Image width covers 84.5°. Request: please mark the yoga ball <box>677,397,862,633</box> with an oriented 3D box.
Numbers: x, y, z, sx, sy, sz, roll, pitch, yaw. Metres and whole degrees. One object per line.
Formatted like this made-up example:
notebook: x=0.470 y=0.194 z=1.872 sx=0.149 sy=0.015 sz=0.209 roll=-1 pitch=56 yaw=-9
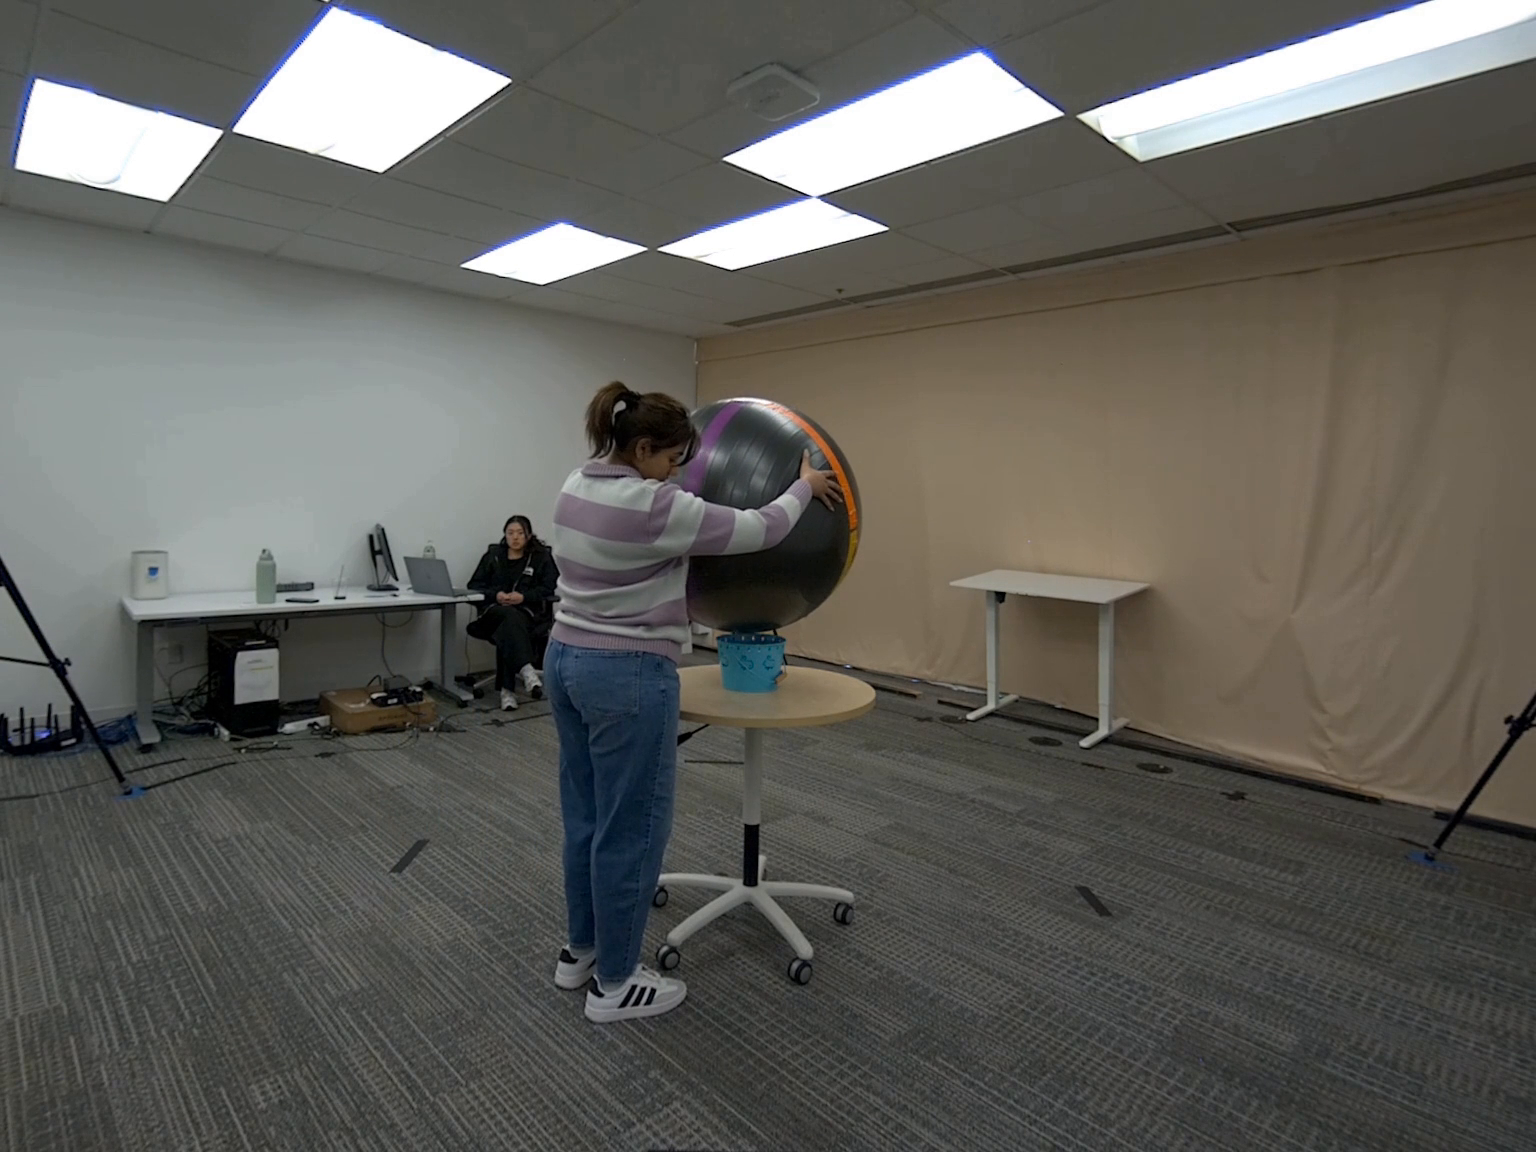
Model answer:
yoga ball: x=-0.075 y=-0.191 z=2.750 sx=0.757 sy=0.756 sz=0.761 roll=1 pitch=4 yaw=-1
